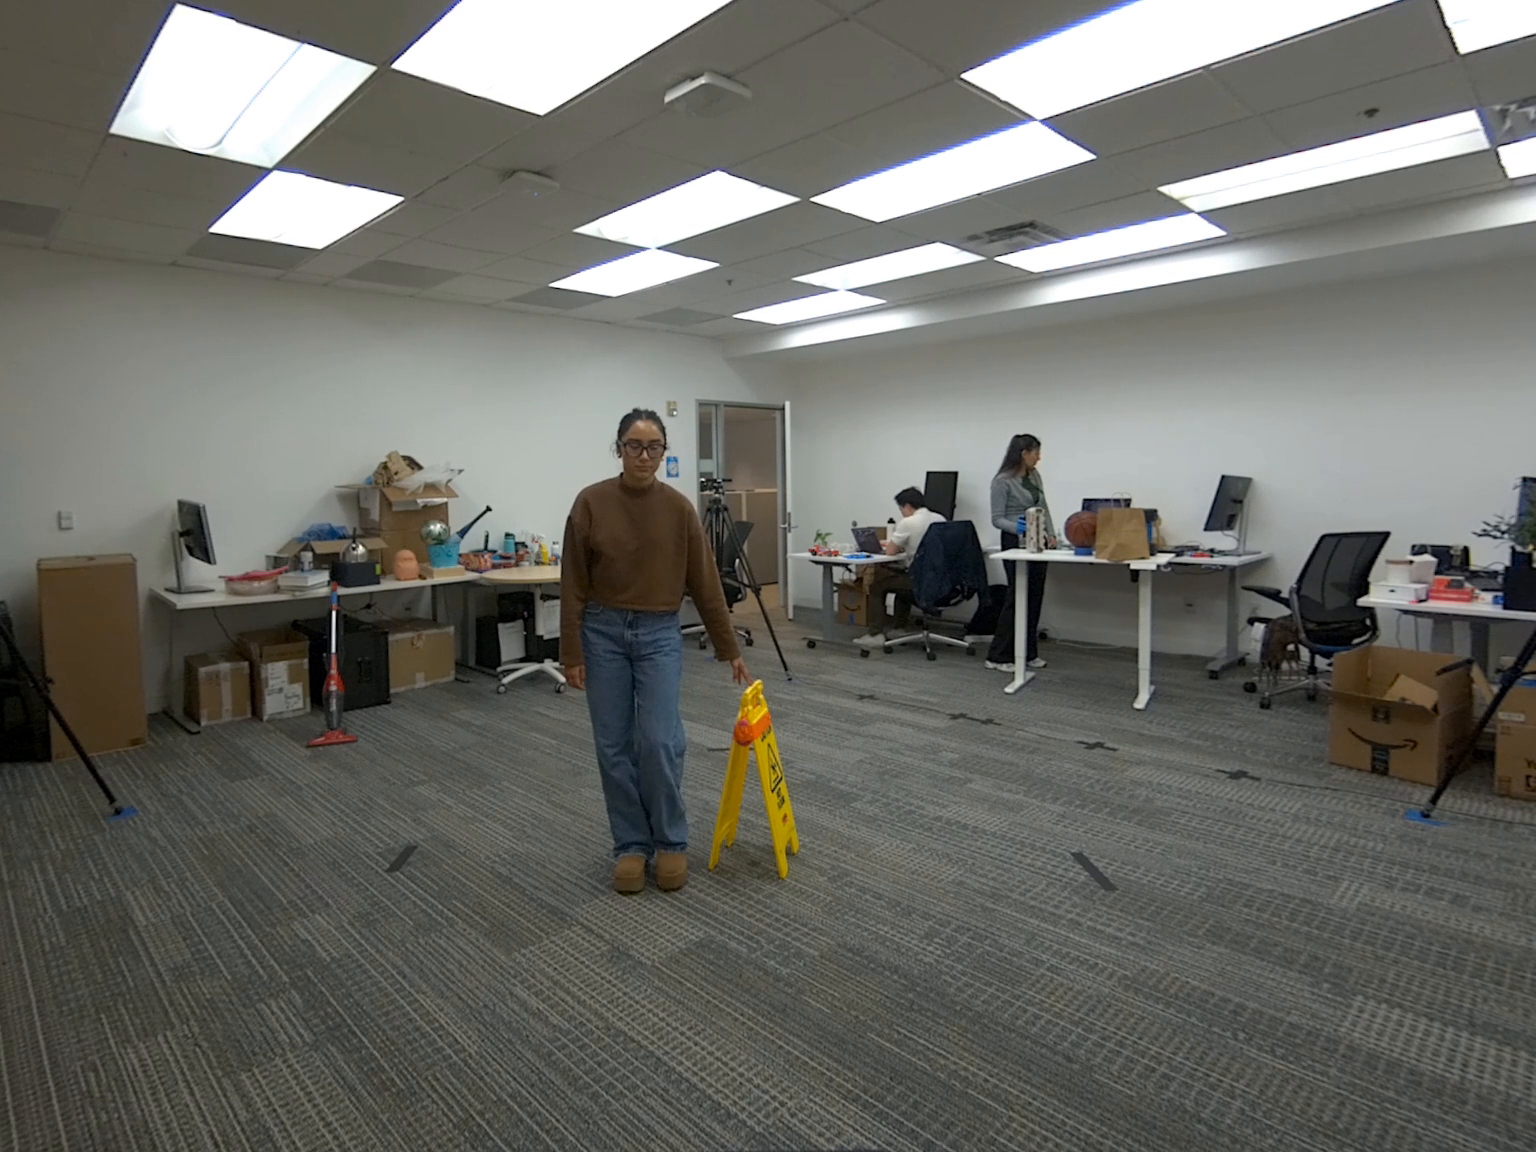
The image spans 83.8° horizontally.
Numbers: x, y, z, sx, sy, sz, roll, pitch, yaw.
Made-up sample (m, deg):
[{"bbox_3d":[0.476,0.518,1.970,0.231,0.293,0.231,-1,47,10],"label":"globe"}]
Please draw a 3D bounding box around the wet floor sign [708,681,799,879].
[{"bbox_3d":[-0.053,0.717,3.126,0.294,0.644,0.279,-1,3,15],"label":"wet floor sign"}]
